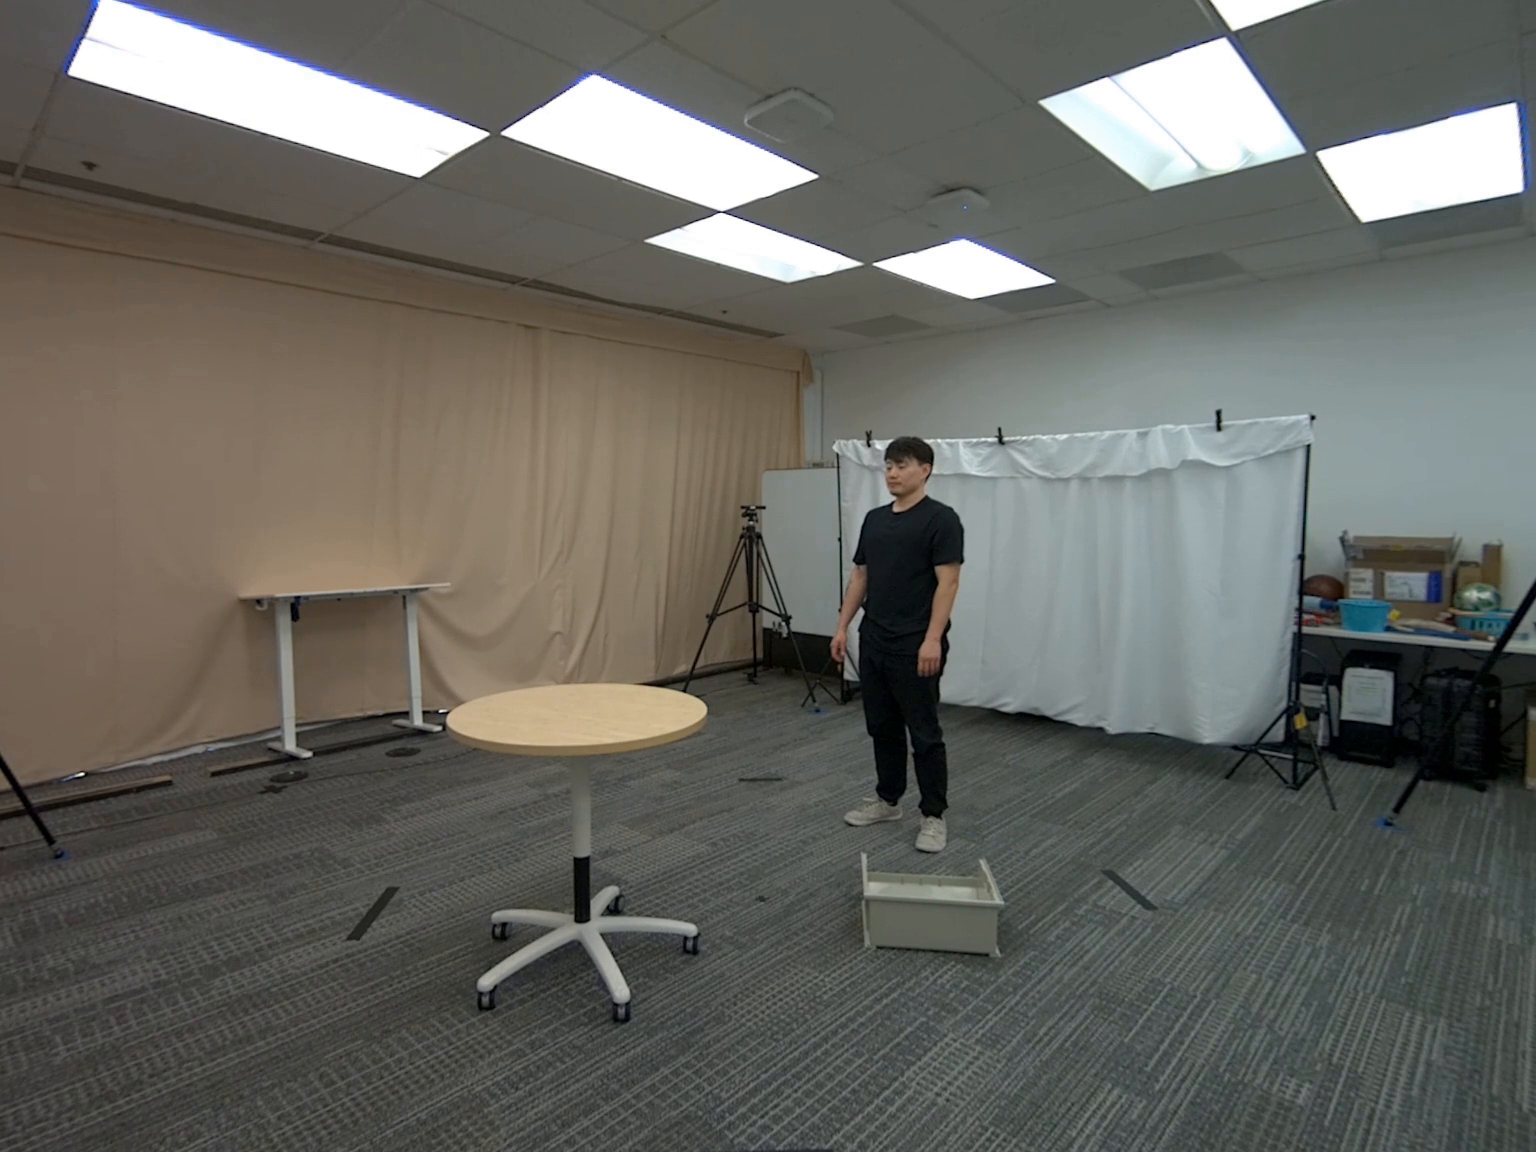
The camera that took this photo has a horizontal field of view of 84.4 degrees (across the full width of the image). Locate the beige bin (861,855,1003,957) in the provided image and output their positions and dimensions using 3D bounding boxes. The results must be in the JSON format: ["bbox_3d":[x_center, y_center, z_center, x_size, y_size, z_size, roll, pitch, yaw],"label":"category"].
[{"bbox_3d":[0.531,1.075,2.782,0.426,0.188,0.375,1,5,6],"label":"beige bin"}]
